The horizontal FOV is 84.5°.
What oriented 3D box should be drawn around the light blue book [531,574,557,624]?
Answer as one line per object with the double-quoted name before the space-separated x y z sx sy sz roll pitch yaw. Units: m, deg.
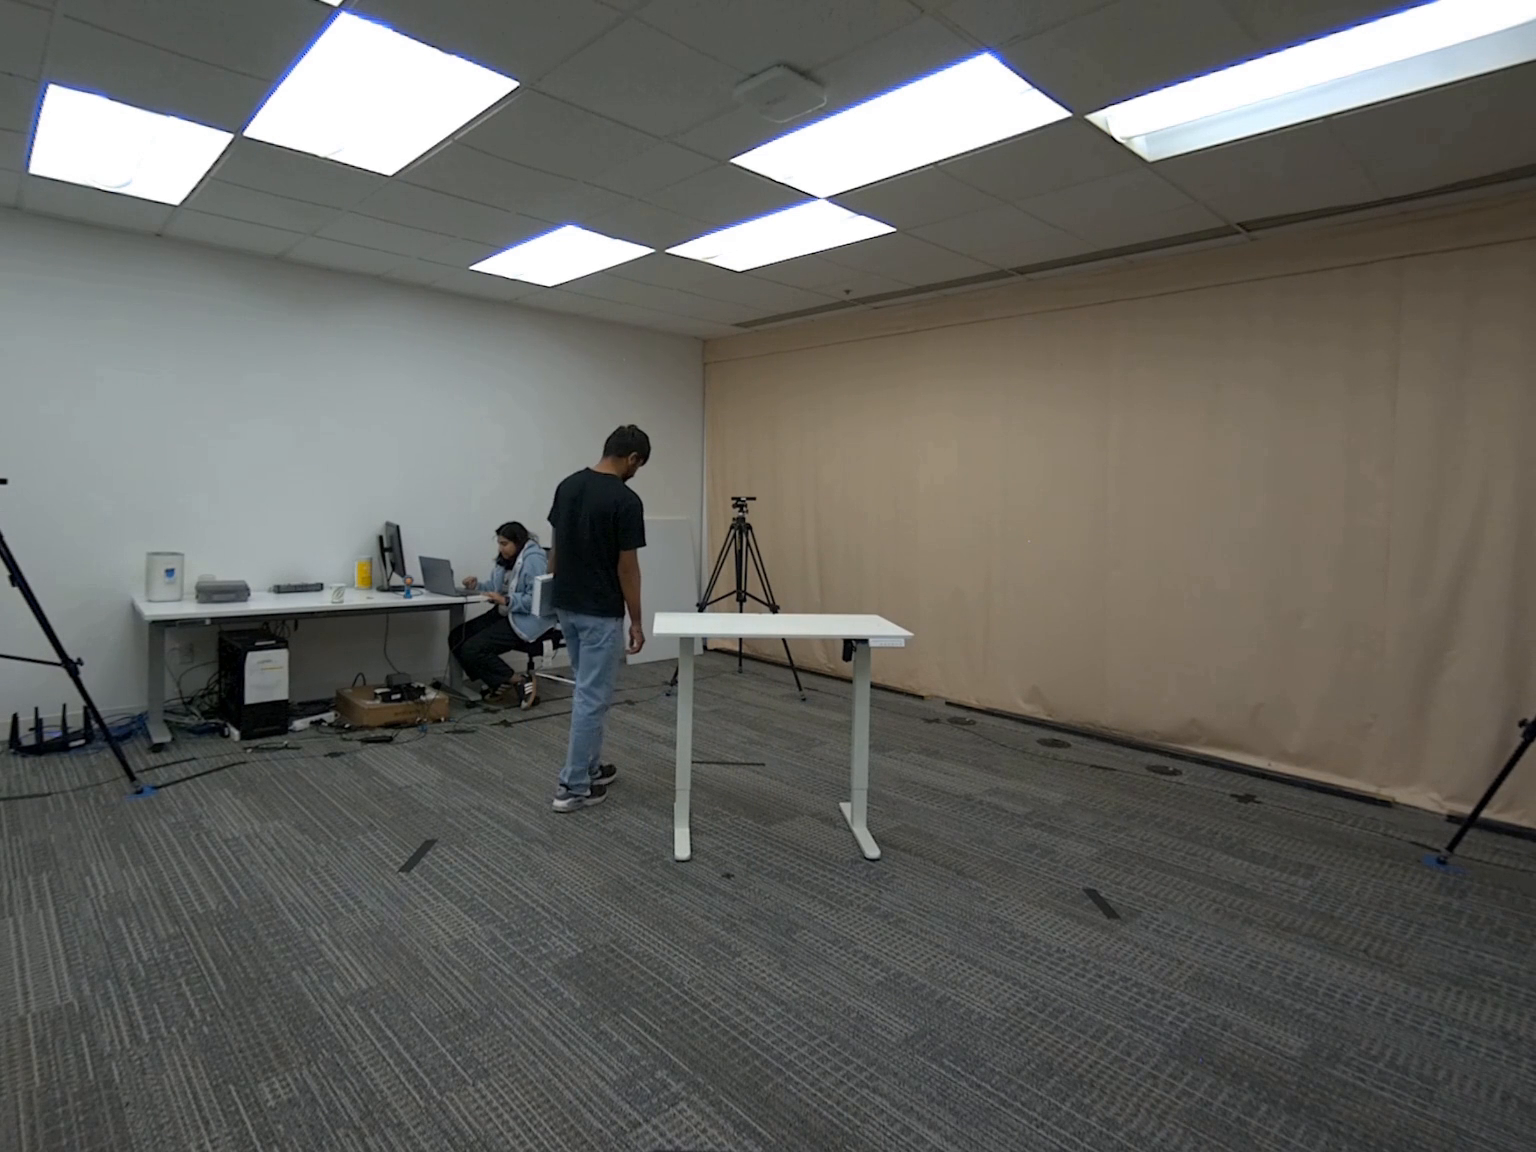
"light blue book" -0.957 0.074 3.888 0.061 0.189 0.256 24 24 35
